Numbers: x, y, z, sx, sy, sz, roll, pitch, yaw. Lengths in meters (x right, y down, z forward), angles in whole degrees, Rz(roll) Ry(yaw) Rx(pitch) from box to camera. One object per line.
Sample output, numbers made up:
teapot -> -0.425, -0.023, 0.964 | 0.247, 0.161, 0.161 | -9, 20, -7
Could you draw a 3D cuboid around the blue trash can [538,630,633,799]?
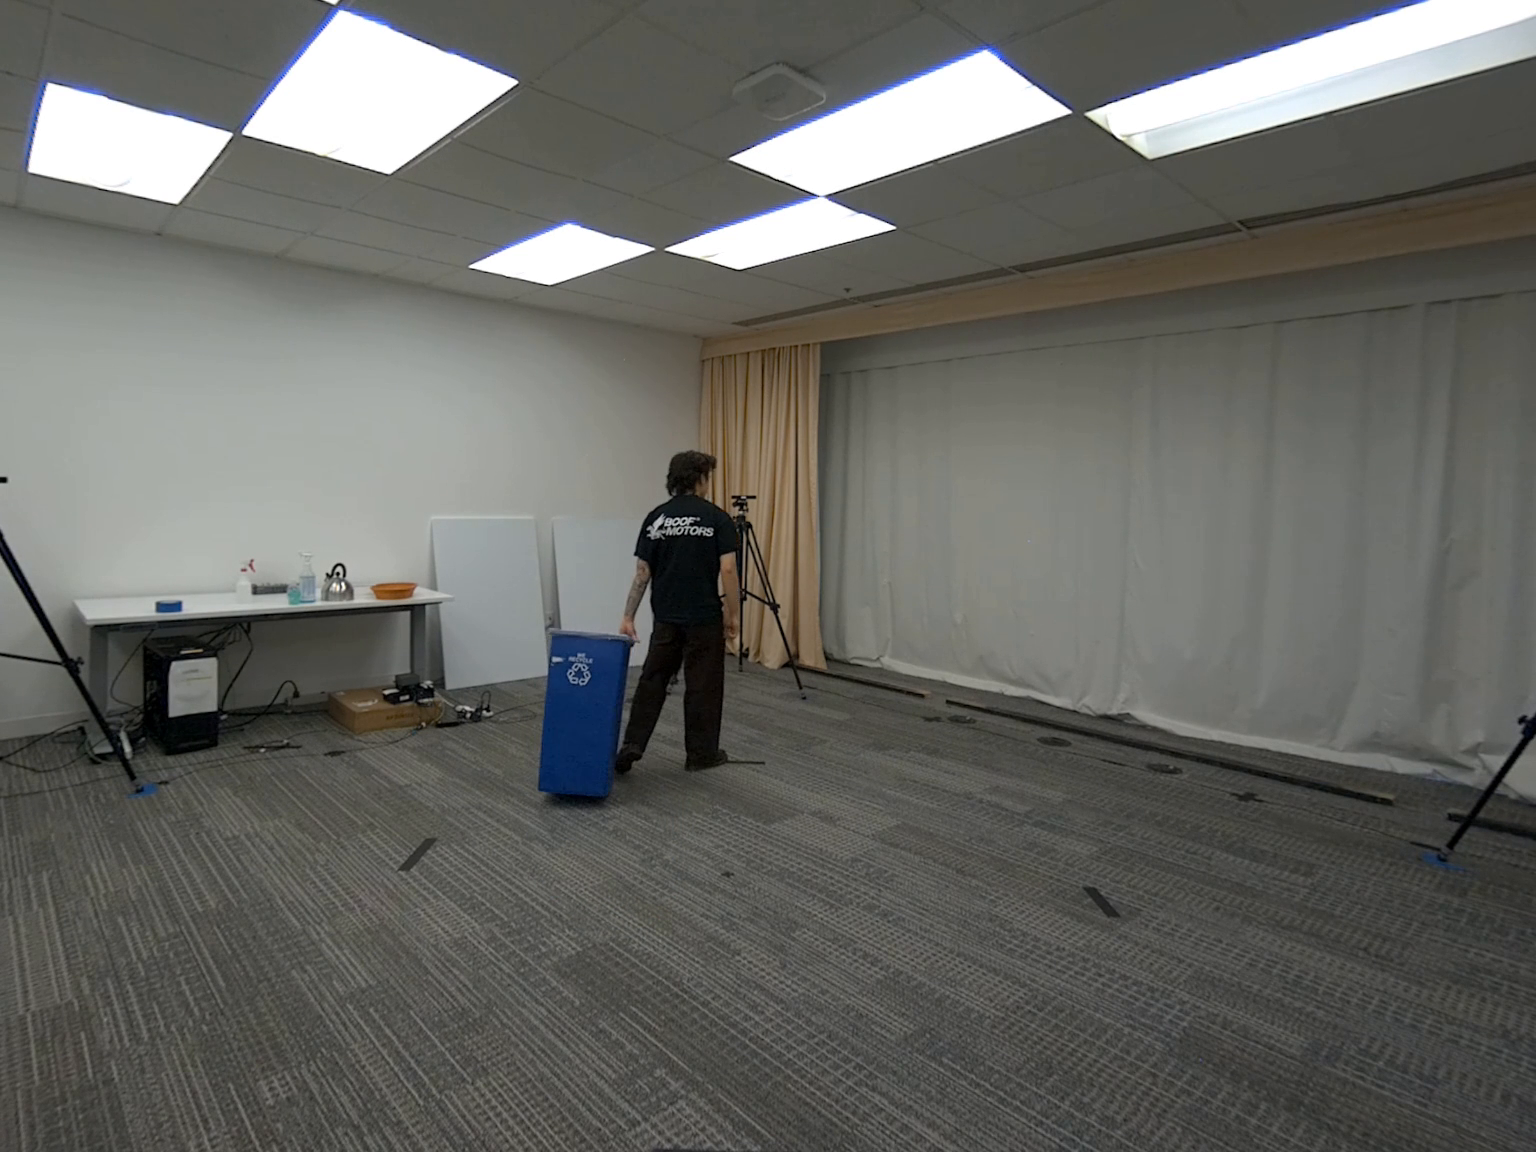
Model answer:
blue trash can -> -0.852, 0.629, 3.923 | 0.373, 0.718, 0.376 | 5, -9, -3
